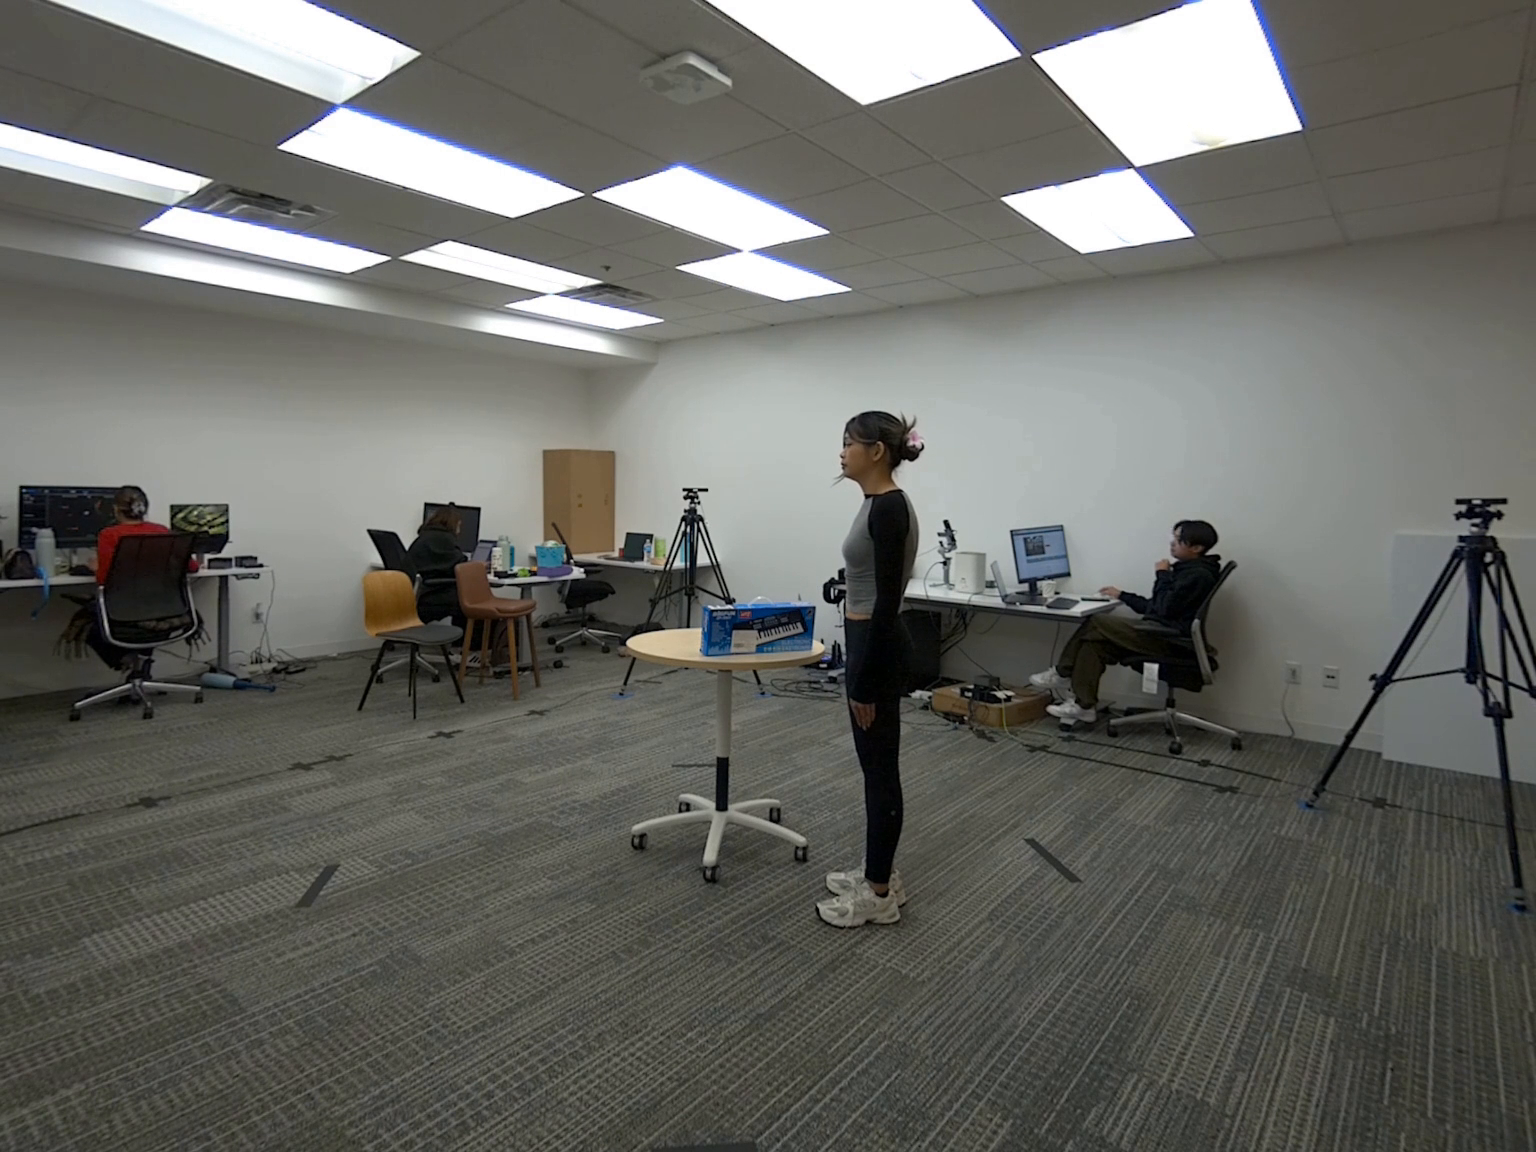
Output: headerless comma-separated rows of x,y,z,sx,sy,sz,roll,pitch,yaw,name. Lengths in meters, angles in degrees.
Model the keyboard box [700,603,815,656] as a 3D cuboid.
-0.040,0.191,3.109,0.426,0.175,0.061,-1,9,-25,keyboard box
